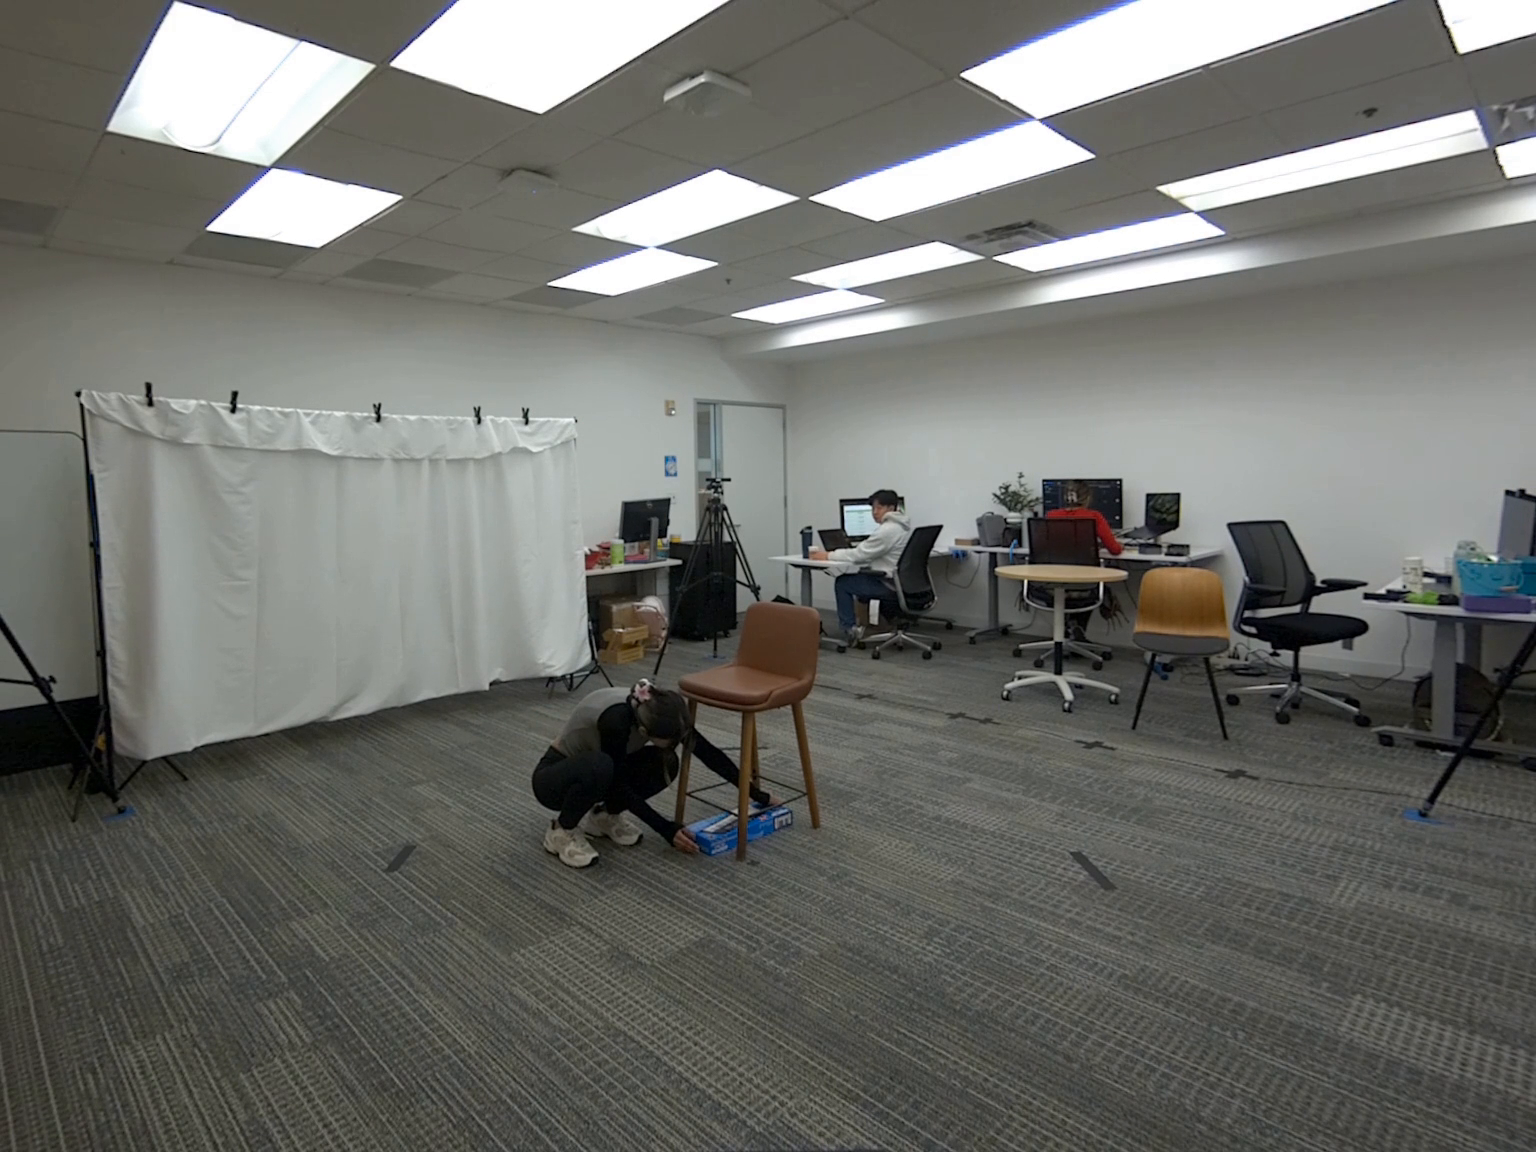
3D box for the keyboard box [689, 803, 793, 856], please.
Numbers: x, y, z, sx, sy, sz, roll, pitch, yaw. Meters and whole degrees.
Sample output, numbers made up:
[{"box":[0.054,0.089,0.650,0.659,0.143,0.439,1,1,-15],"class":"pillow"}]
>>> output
[{"box":[-0.119,0.978,3.363,0.425,0.059,0.181,-6,8,-41],"class":"keyboard box"}]
